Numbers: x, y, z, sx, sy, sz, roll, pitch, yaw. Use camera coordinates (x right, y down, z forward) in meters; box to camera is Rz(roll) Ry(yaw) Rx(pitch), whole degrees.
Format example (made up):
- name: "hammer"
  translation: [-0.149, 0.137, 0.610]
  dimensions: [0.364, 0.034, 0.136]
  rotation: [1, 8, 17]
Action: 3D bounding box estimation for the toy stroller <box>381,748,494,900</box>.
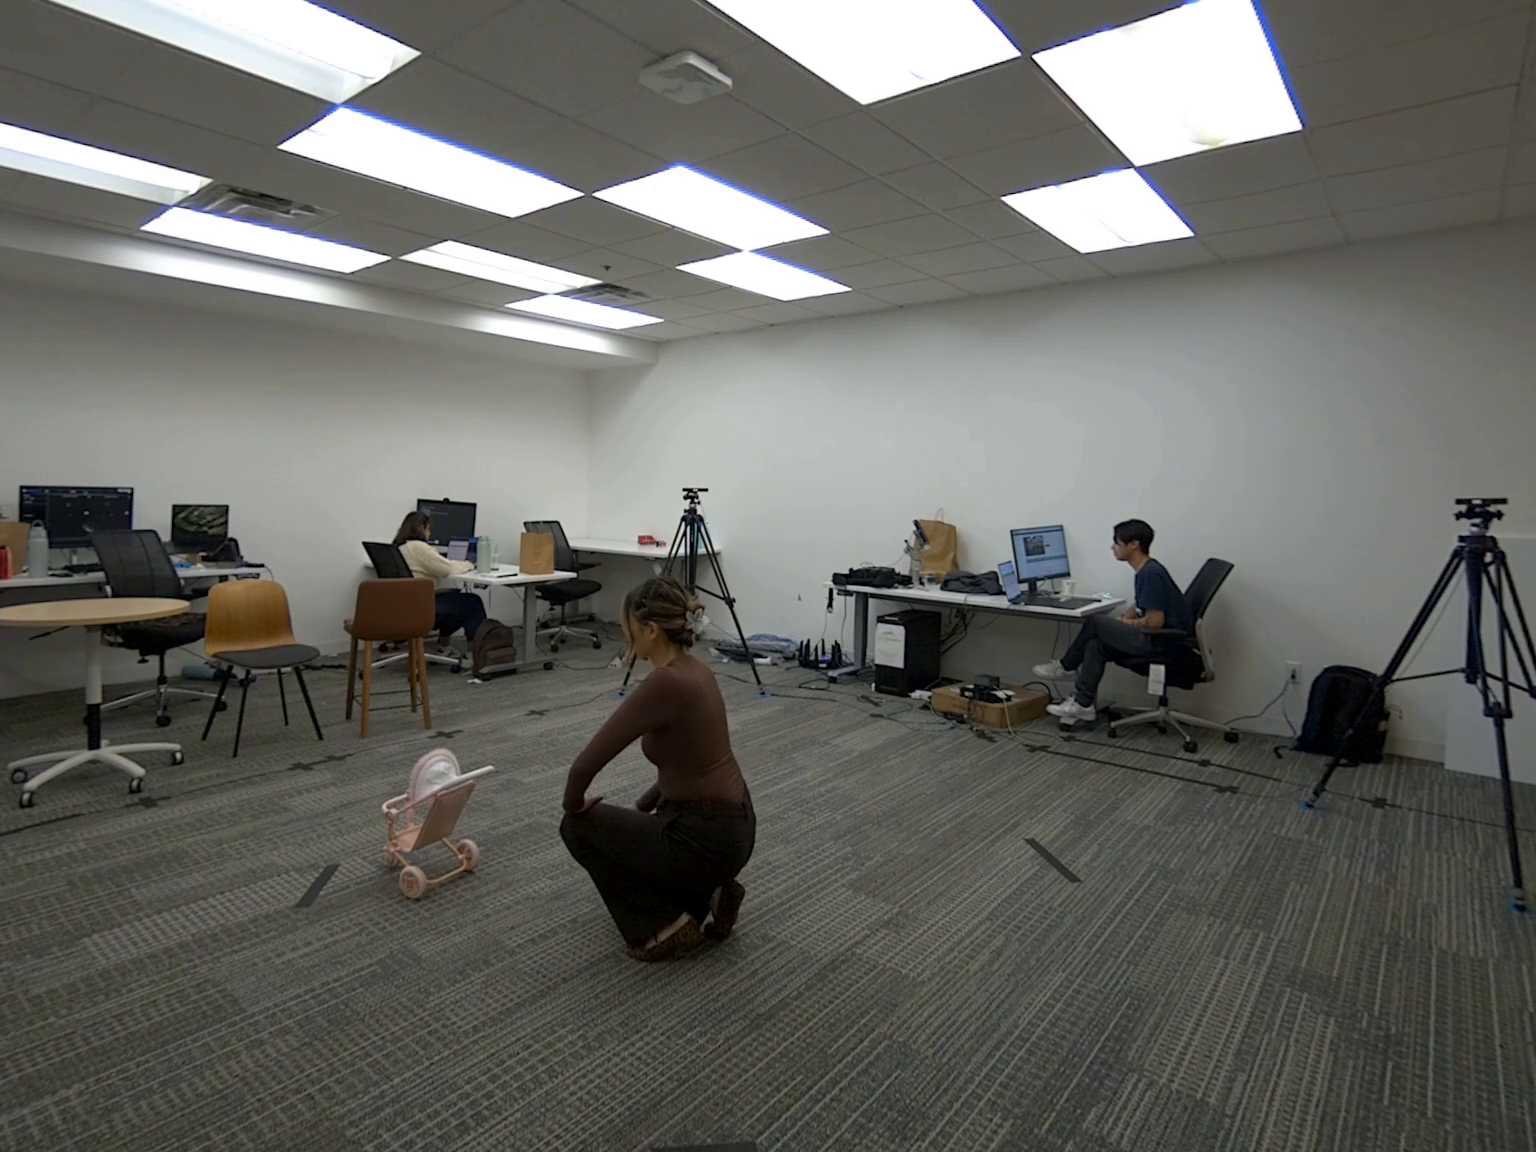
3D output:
- name: "toy stroller"
  translation: [-1.203, 0.845, 2.983]
  dimensions: [0.353, 0.531, 0.274]
  rotation: [23, 13, 29]
